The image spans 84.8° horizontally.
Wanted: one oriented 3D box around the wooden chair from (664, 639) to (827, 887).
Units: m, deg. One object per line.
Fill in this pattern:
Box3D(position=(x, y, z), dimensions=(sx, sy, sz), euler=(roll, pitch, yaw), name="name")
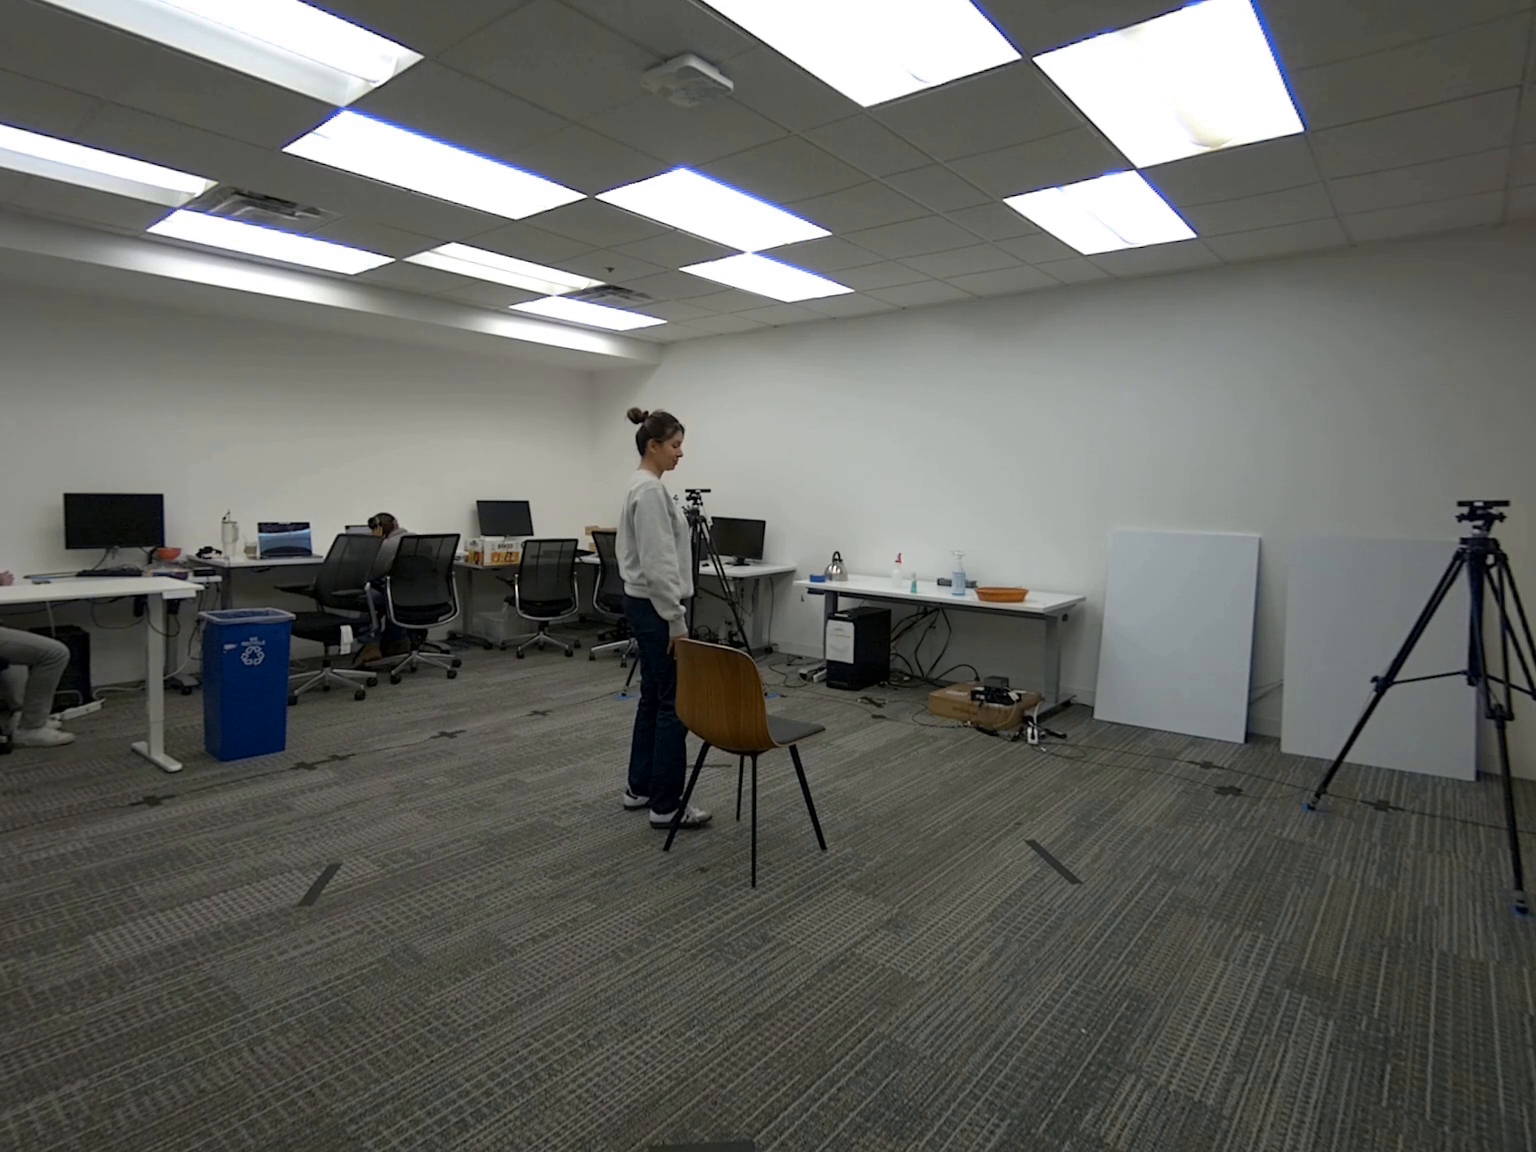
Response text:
Box3D(position=(-0.083, 0.634, 3.269), dimensions=(0.494, 0.872, 0.509), euler=(3, 8, 39), name="wooden chair")
